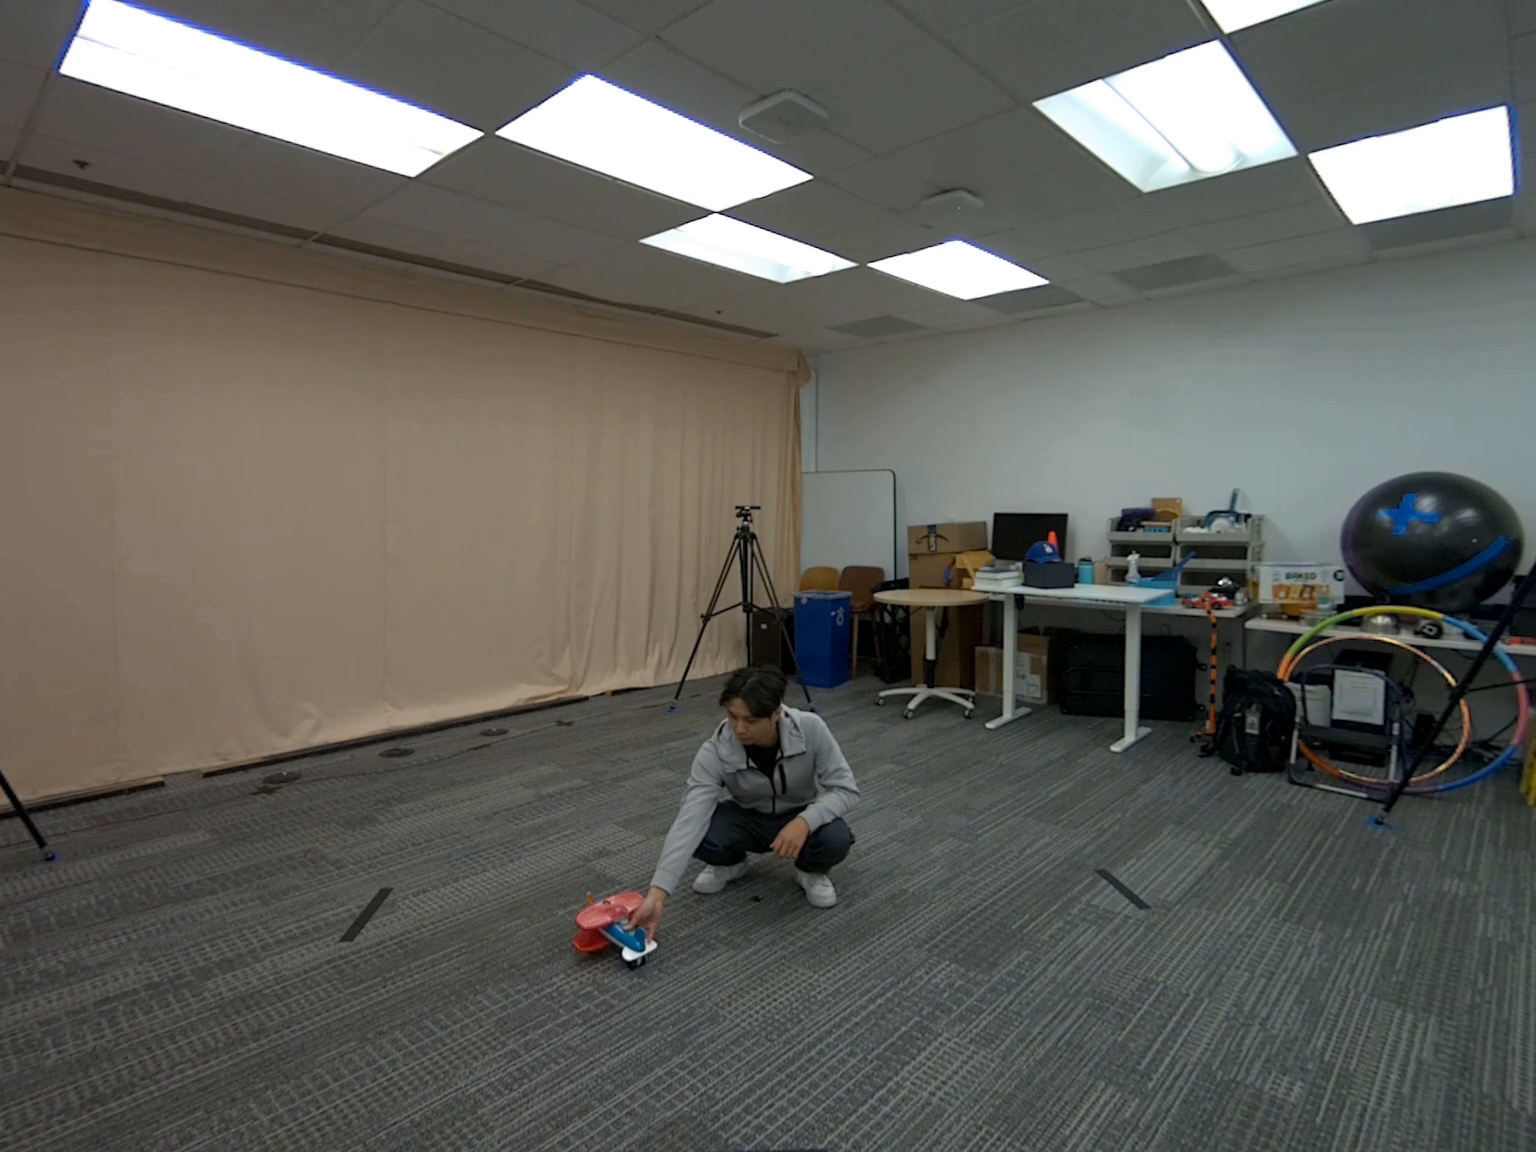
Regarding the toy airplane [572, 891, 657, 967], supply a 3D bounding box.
[{"bbox_3d":[-0.457,1.106,2.625,0.263,0.156,0.248,0,4,14],"label":"toy airplane"}]
